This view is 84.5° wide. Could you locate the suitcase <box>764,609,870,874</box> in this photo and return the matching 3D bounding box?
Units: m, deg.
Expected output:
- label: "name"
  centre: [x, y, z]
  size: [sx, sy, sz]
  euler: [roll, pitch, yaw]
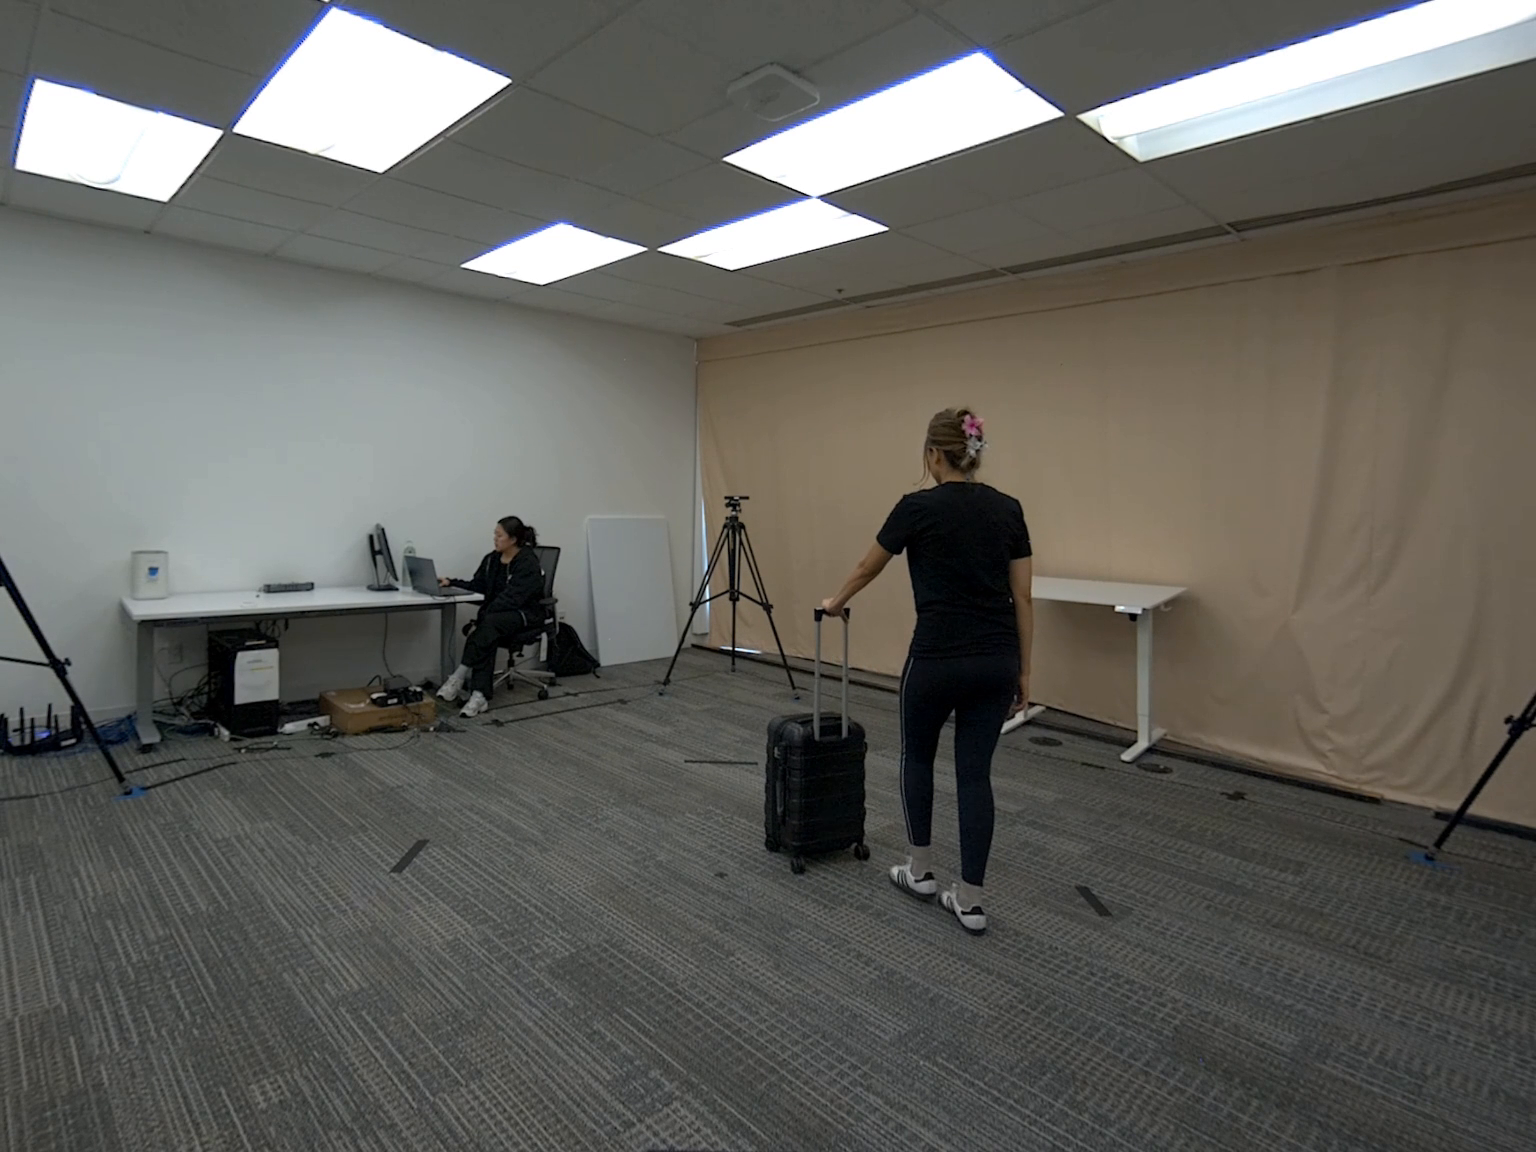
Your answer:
- label: "suitcase"
  centre: [0.178, 0.615, 3.308]
  size: [0.377, 0.979, 0.262]
  euler: [0, 0, -25]
